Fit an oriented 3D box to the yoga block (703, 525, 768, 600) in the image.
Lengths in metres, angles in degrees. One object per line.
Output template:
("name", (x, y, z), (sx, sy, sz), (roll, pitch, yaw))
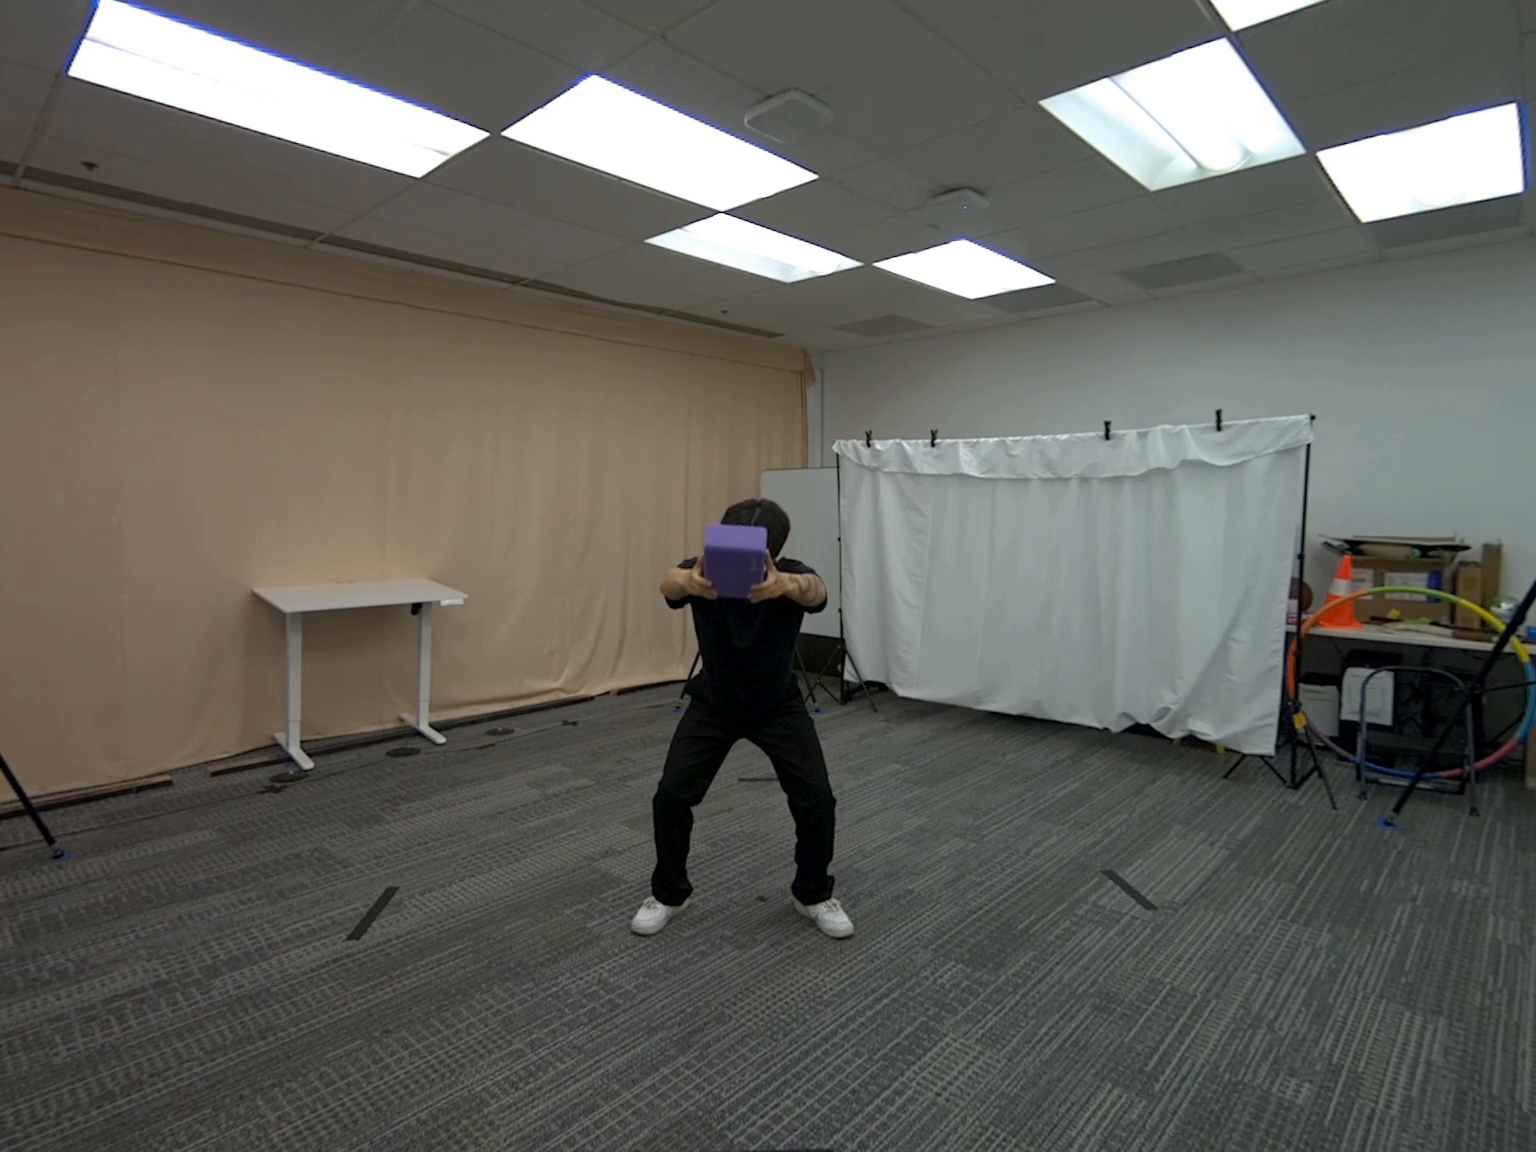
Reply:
("yoga block", (-0.088, -0.025, 2.096), (0.149, 0.077, 0.226), (4, -32, -2))
